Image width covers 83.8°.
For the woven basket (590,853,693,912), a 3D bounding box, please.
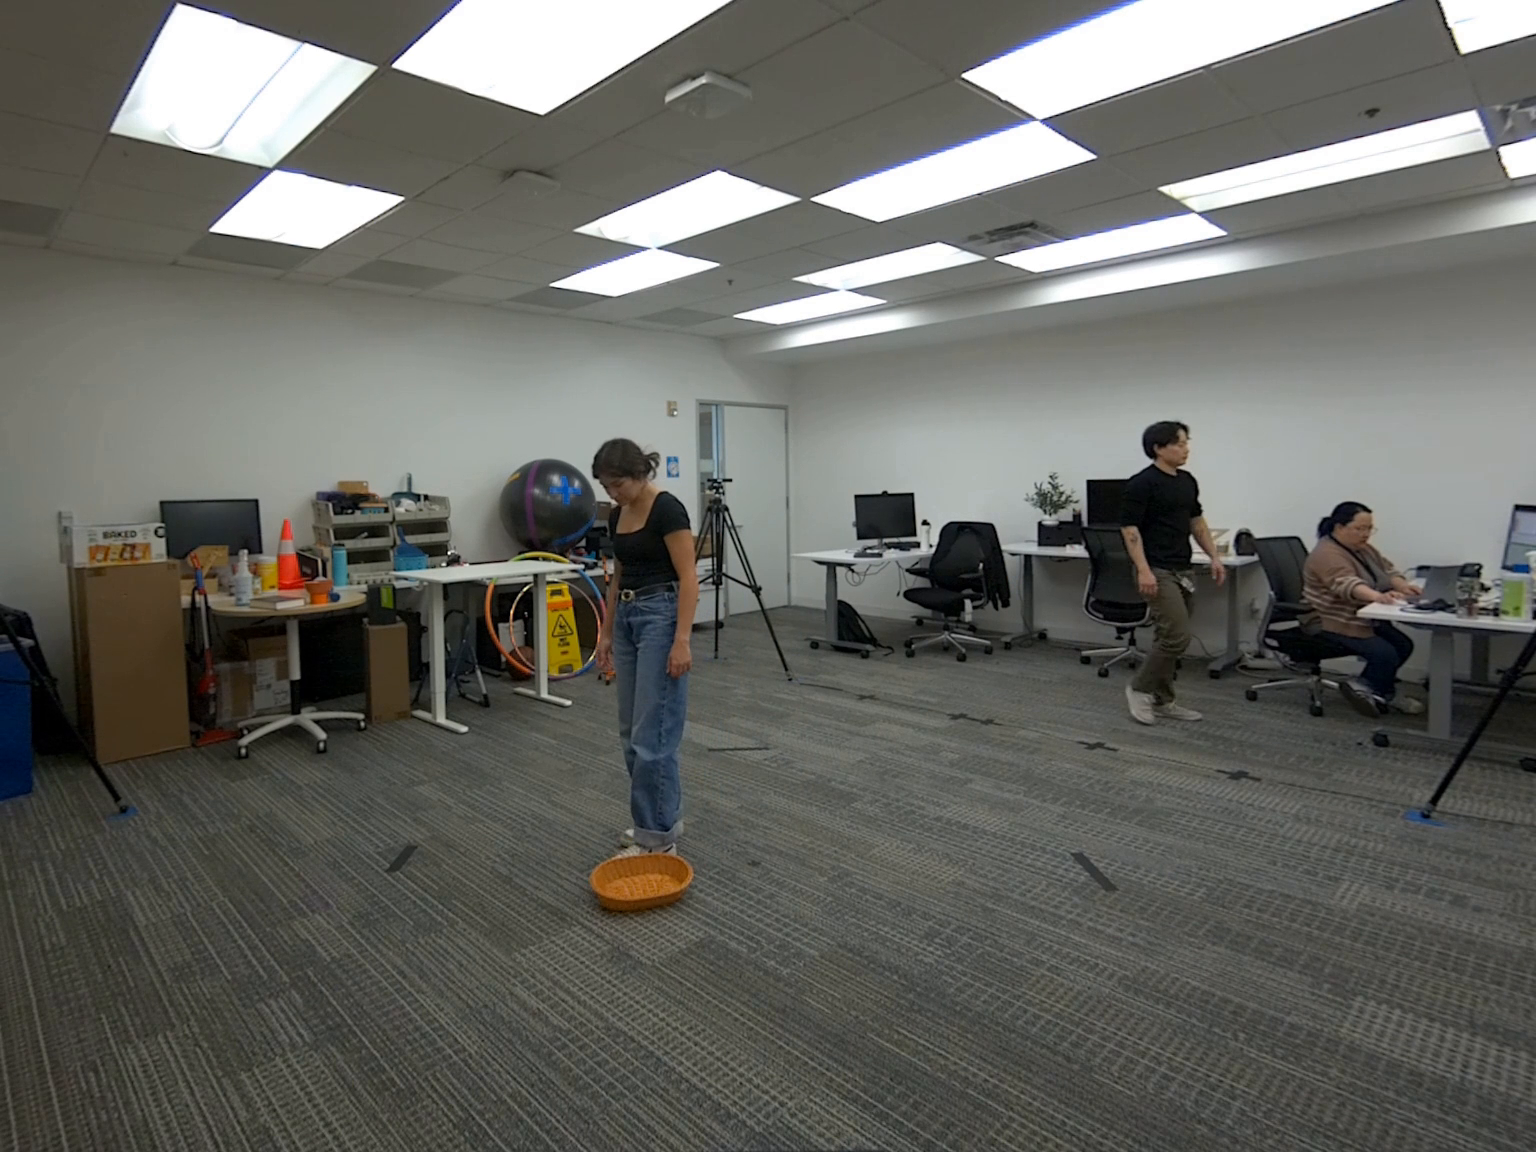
[{"bbox_3d":[-0.419,1.036,2.873,0.344,0.073,0.259,-3,13,-20],"label":"woven basket"}]
